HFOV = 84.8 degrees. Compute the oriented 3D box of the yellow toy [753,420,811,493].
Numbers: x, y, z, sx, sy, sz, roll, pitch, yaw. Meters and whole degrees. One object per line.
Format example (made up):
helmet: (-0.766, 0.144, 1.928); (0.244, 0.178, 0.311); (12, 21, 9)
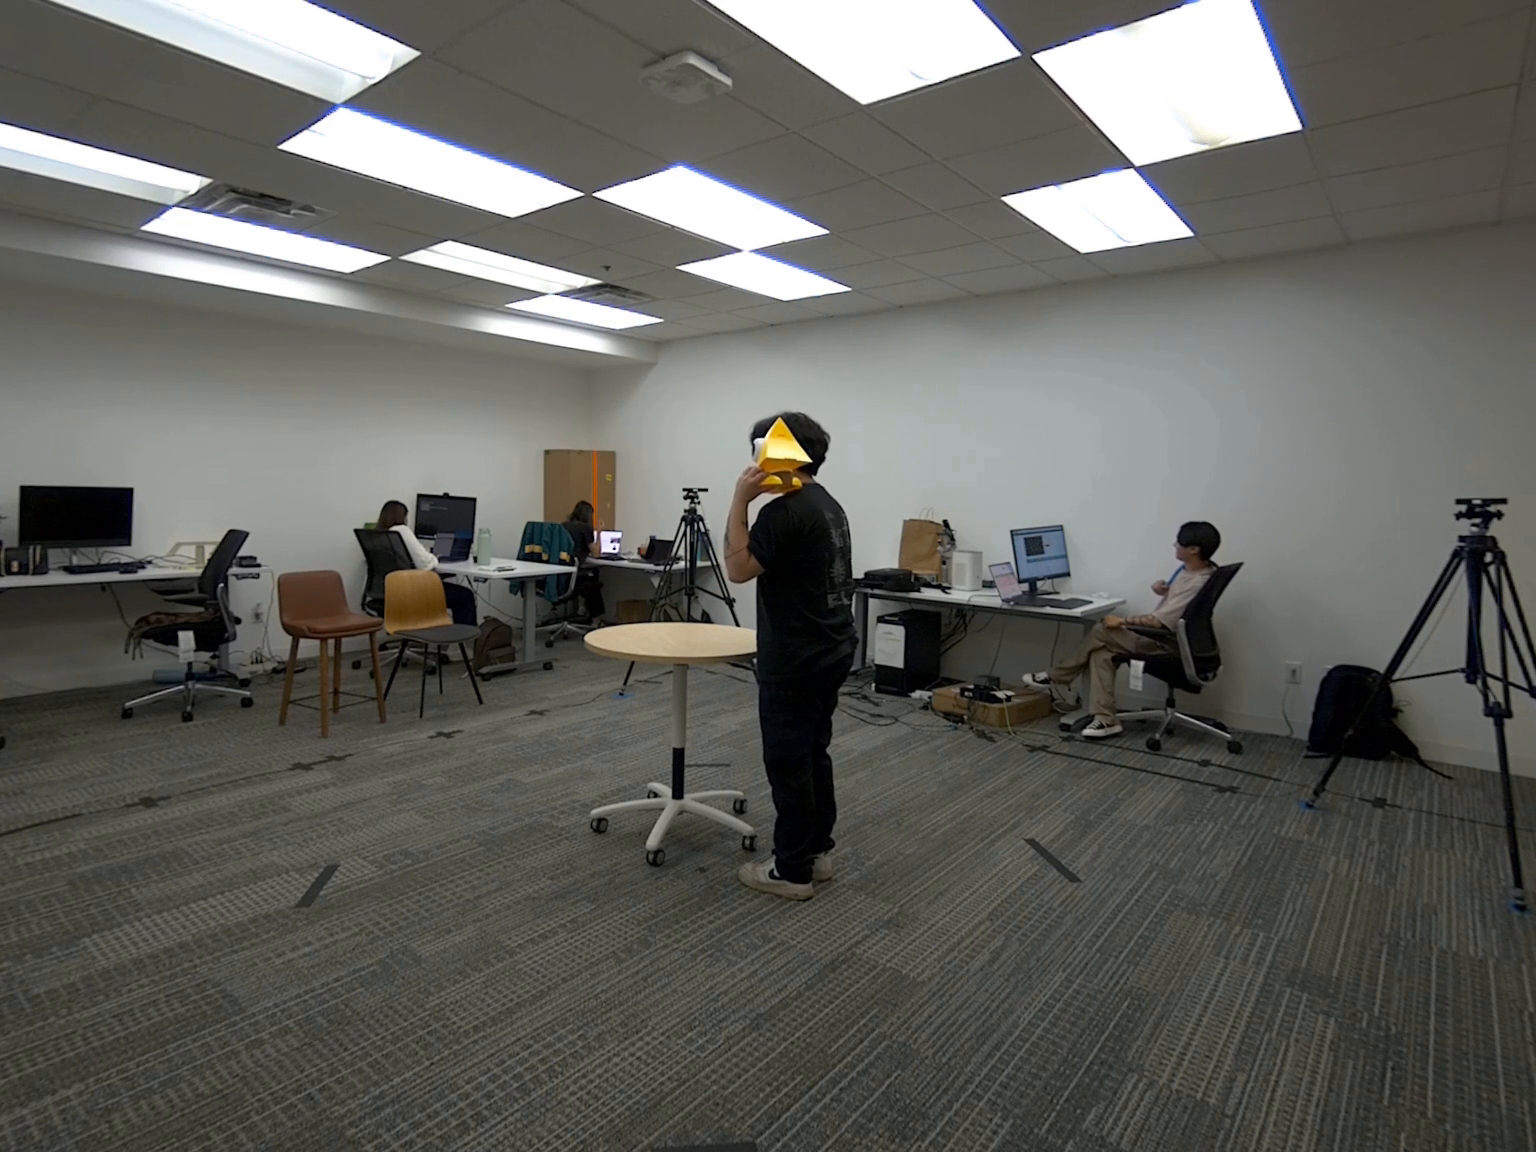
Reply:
yellow toy: (0.005, -0.410, 2.870); (0.198, 0.233, 0.197); (2, -10, -40)
